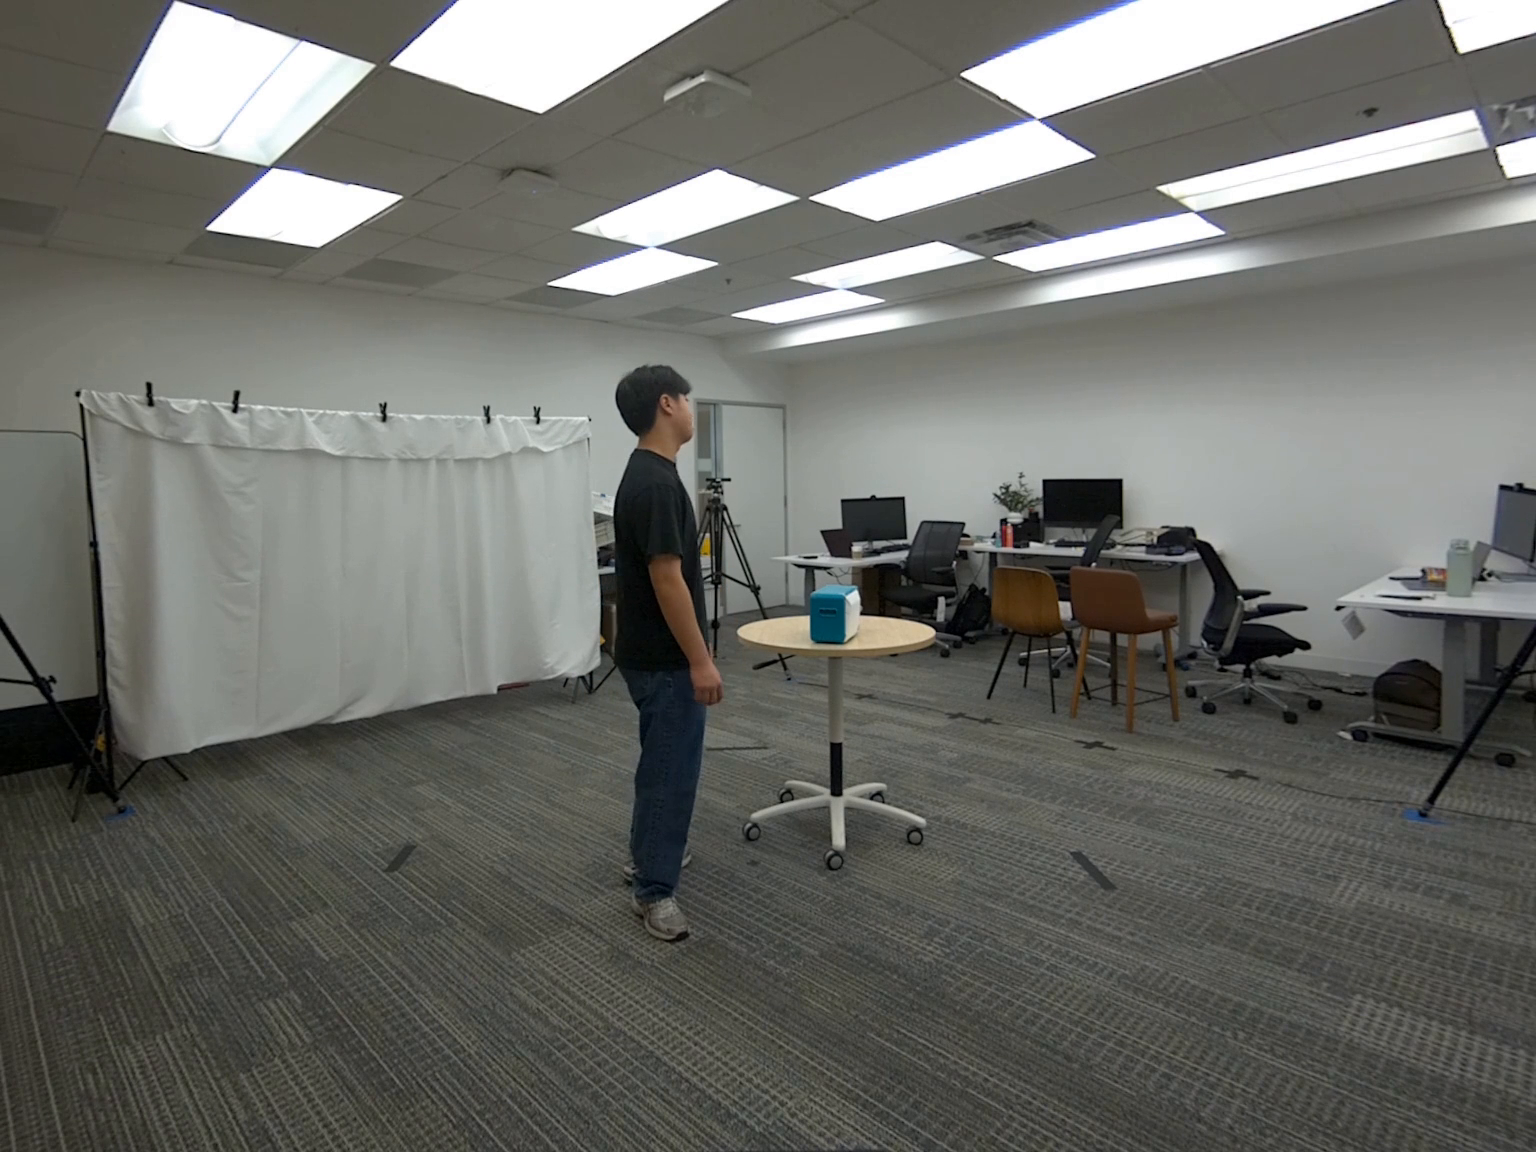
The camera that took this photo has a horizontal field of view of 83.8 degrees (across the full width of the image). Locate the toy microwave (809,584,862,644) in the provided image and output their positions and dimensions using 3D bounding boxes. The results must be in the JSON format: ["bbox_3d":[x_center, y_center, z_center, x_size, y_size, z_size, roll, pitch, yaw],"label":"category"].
[{"bbox_3d":[0.262,0.140,3.174,0.155,0.183,0.283,2,6,15],"label":"toy microwave"}]
